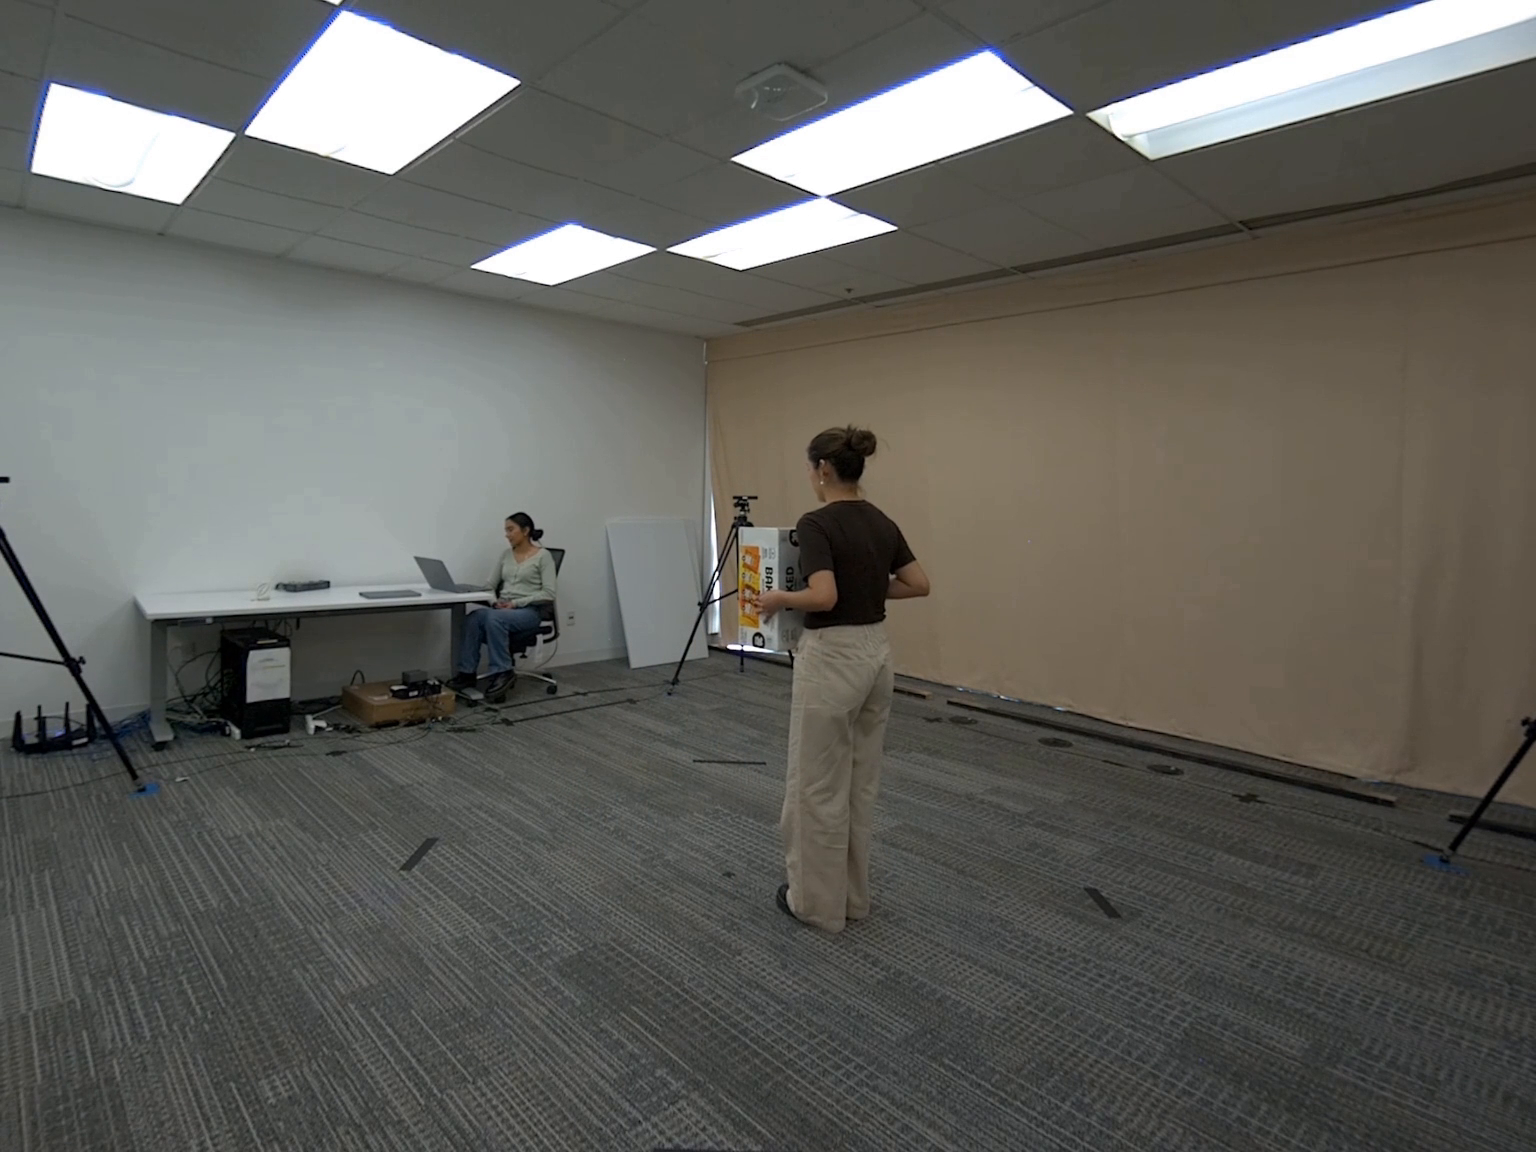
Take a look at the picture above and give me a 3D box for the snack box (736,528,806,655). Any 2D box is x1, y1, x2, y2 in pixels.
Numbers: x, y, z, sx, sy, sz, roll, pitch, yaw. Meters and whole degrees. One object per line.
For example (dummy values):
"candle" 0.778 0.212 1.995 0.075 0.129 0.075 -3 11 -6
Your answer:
"snack box" 0.085 0.037 2.926 0.332 0.404 0.211 -2 3 -42
